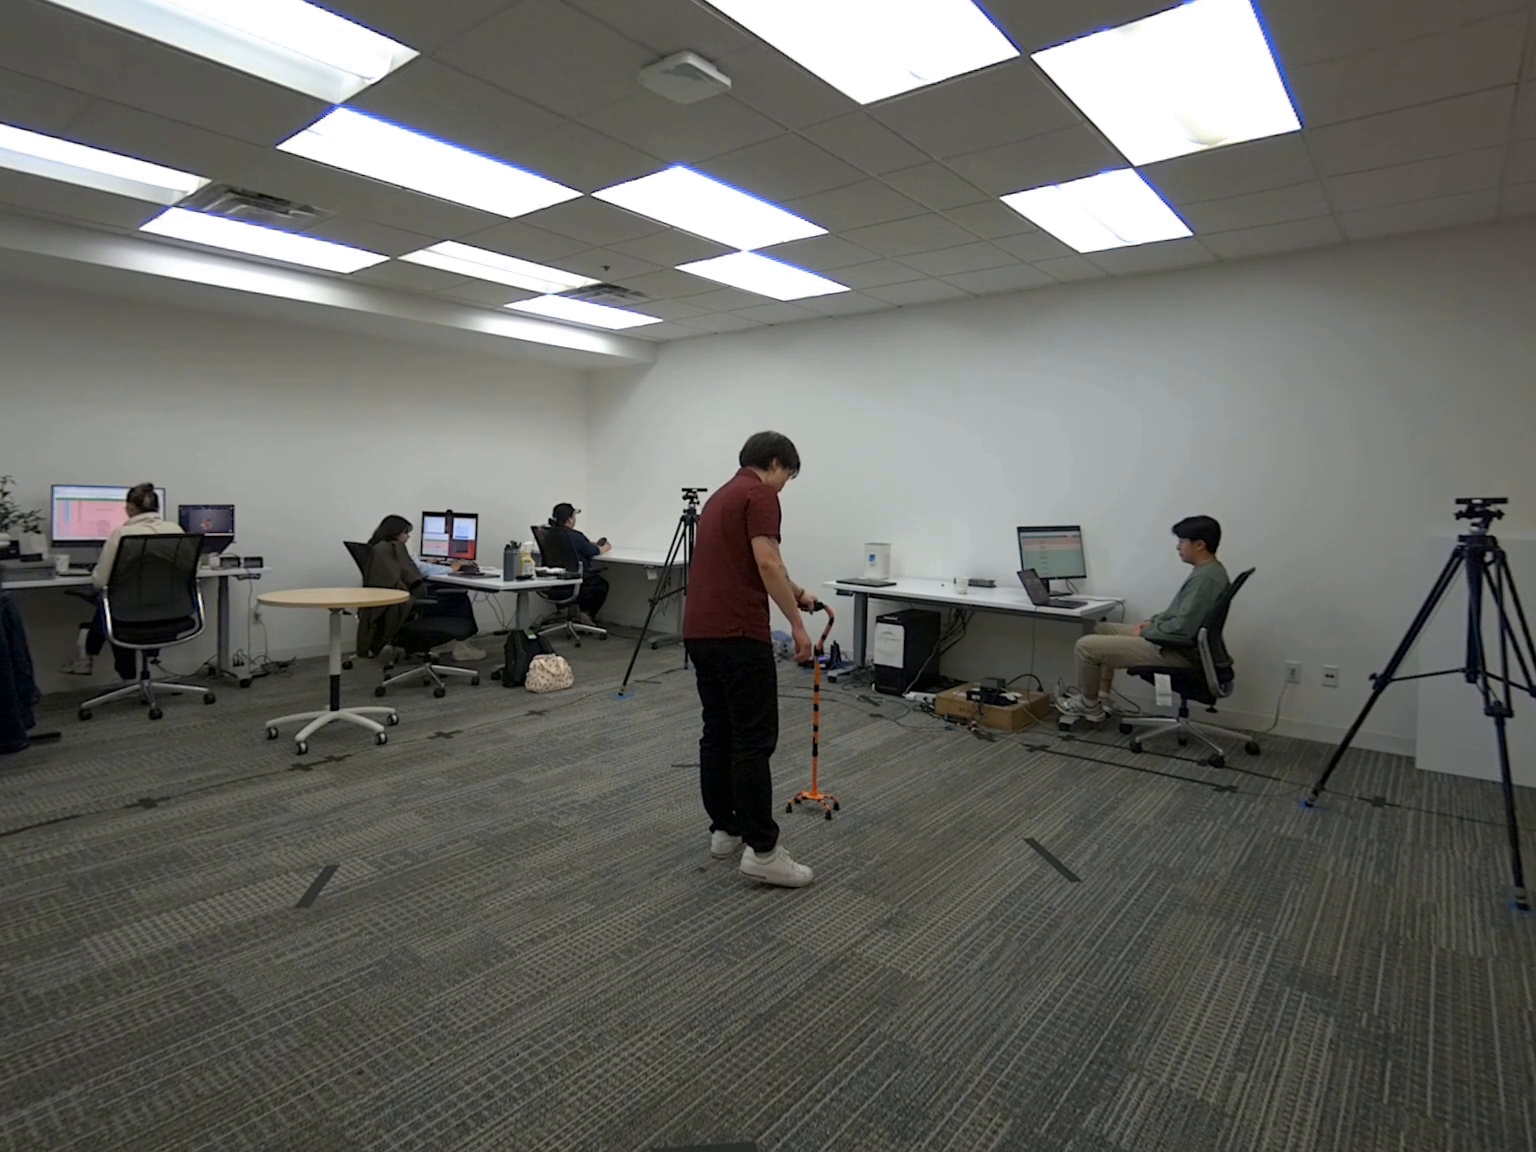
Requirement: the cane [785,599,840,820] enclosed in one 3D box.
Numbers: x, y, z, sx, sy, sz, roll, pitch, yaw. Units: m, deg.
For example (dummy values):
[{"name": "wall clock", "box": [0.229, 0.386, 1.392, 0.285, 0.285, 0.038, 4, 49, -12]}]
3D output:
[{"name": "cane", "box": [0.199, 0.567, 3.689, 0.211, 0.906, 0.149, 2, 2, 19]}]
